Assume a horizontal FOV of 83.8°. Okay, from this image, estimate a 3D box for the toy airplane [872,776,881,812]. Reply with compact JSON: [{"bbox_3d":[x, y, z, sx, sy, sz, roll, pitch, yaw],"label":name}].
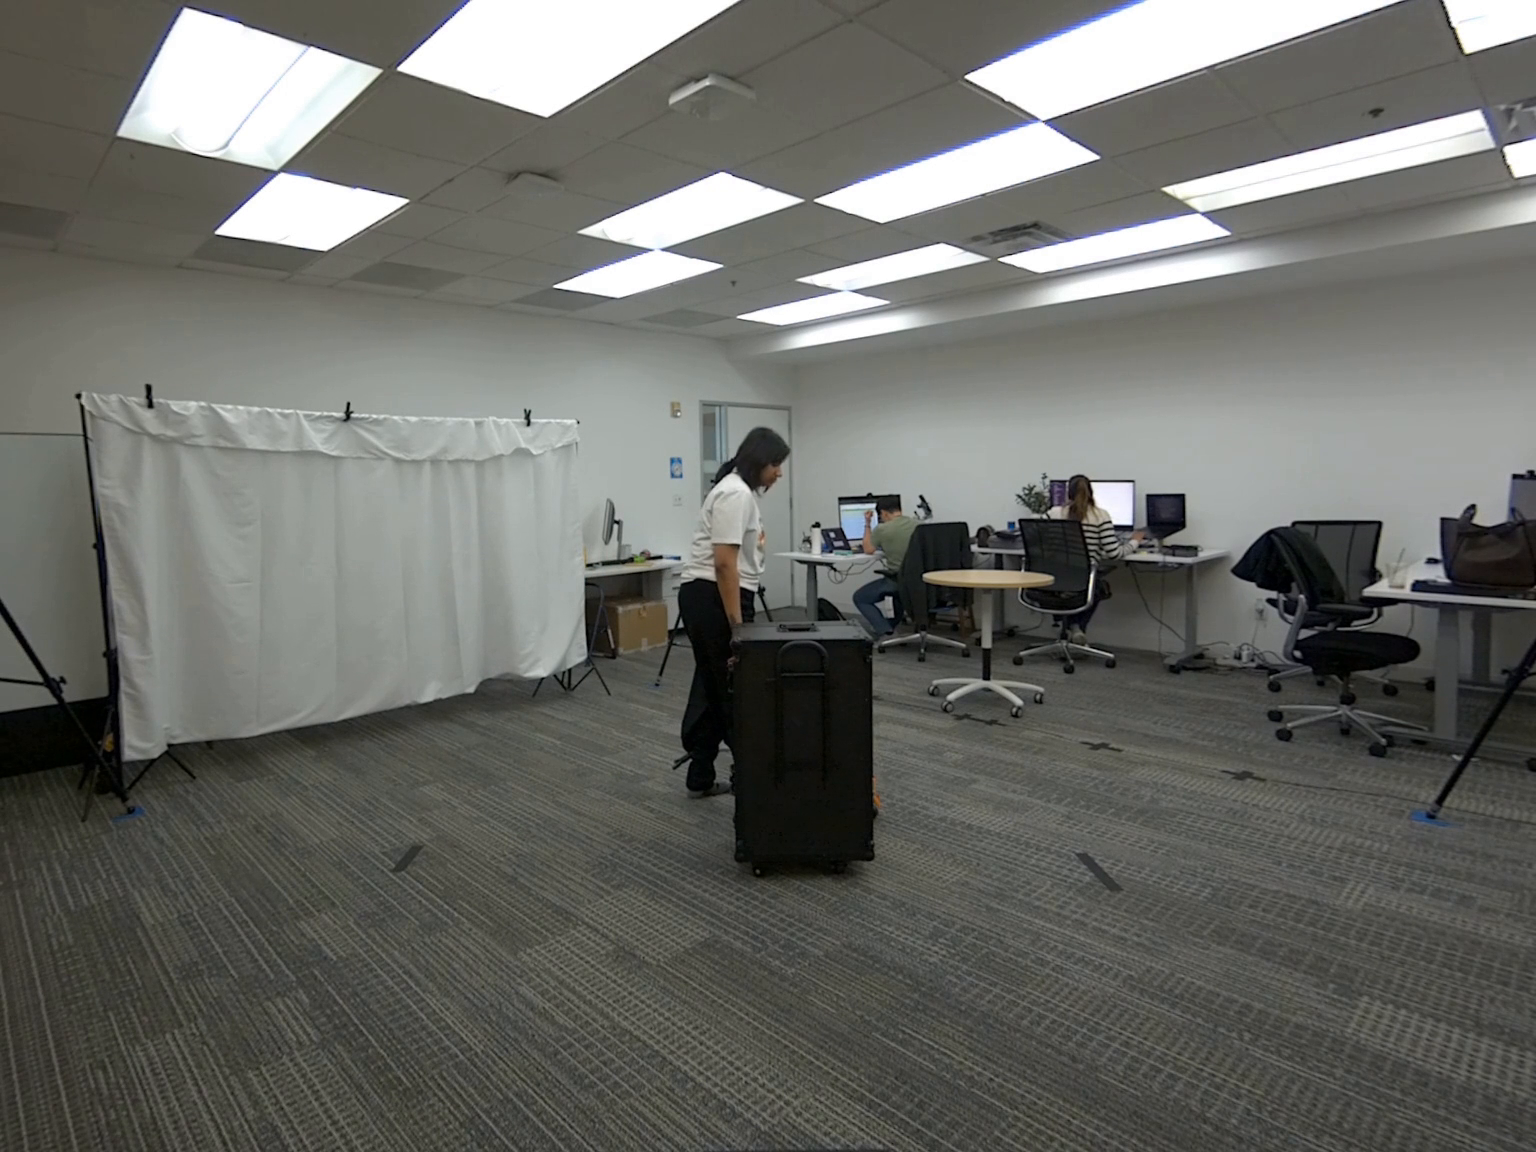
[{"bbox_3d":[0.339,0.927,3.517,0.263,0.156,0.249,2,6,12],"label":"toy airplane"}]
